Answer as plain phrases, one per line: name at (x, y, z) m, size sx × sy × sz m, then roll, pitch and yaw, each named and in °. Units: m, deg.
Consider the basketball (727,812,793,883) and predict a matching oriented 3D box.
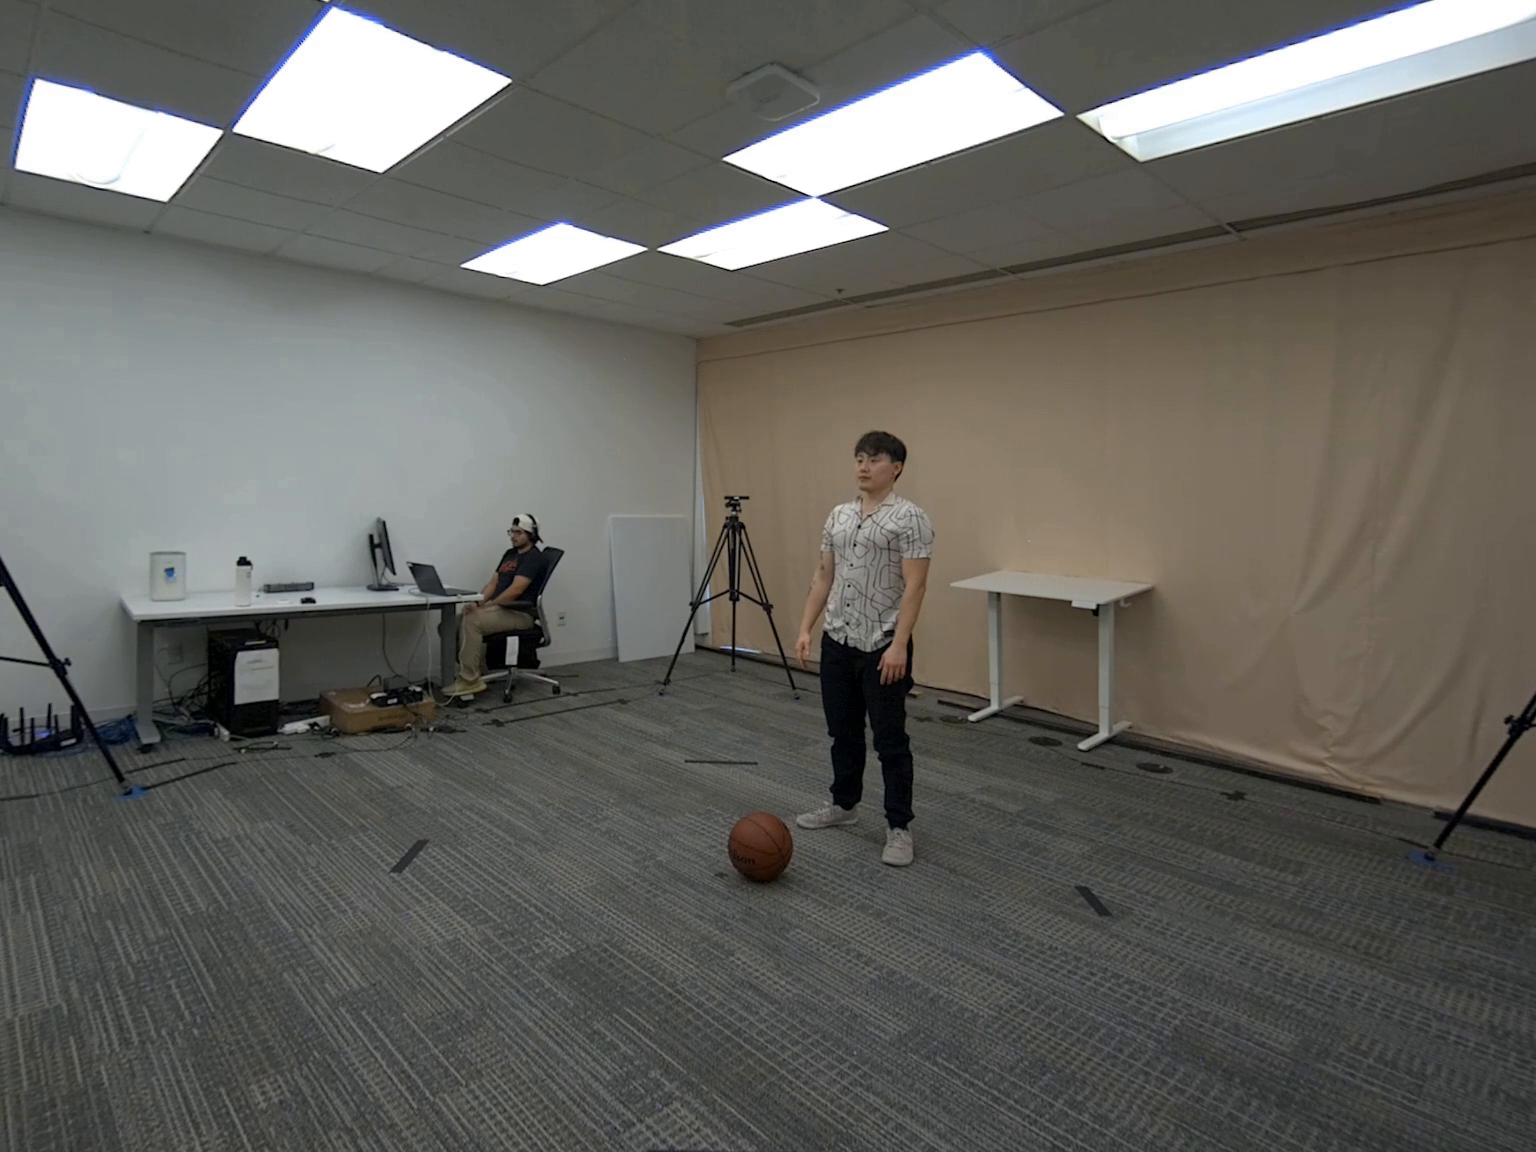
basketball at (-0.035, 0.986, 3.081) m, size 0.236 × 0.235 × 0.237 m, roll 1°, pitch 4°, yaw -1°
